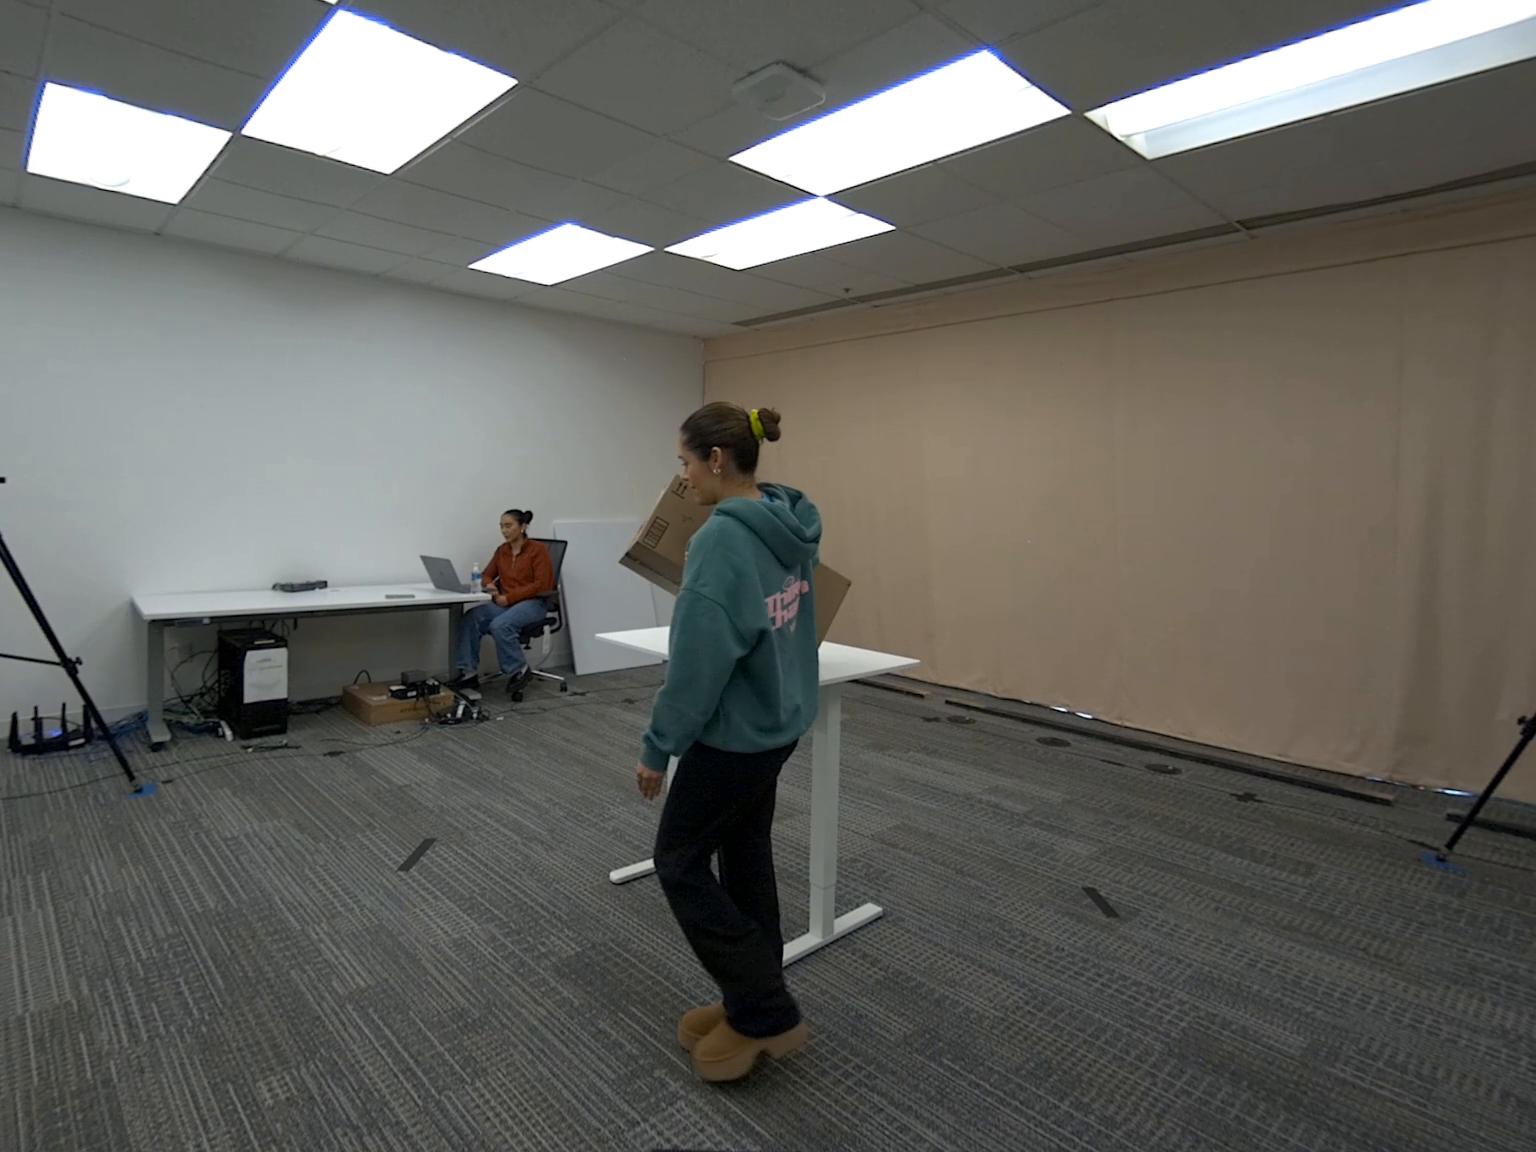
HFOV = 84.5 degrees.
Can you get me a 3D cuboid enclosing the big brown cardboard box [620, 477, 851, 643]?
[{"bbox_3d":[-0.109,-0.006,2.423,0.583,0.234,0.420,31,-15,-10],"label":"big brown cardboard box"}]
